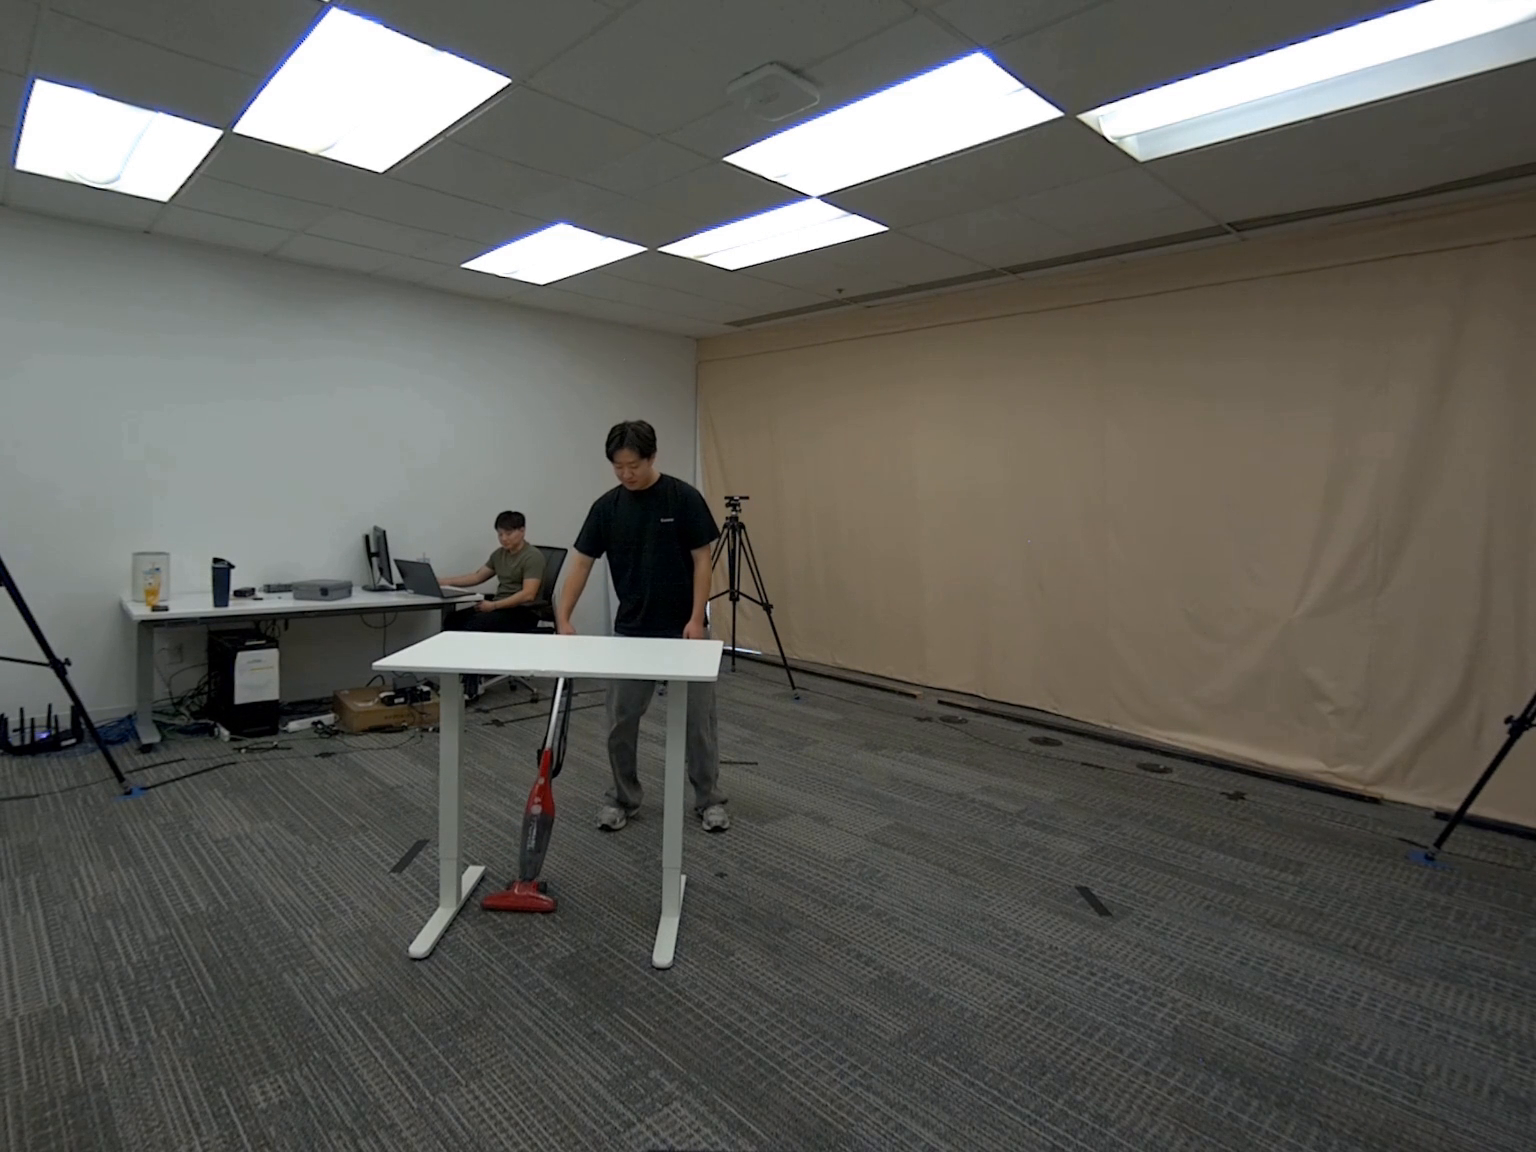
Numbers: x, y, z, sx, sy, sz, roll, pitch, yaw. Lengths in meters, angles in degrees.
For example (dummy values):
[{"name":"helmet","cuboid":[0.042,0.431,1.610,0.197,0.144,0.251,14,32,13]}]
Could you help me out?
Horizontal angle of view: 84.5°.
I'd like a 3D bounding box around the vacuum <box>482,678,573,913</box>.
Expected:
[{"name":"vacuum","cuboid":[-0.820,0.664,3.187,0.254,1.071,0.140,-3,-38,6]}]
